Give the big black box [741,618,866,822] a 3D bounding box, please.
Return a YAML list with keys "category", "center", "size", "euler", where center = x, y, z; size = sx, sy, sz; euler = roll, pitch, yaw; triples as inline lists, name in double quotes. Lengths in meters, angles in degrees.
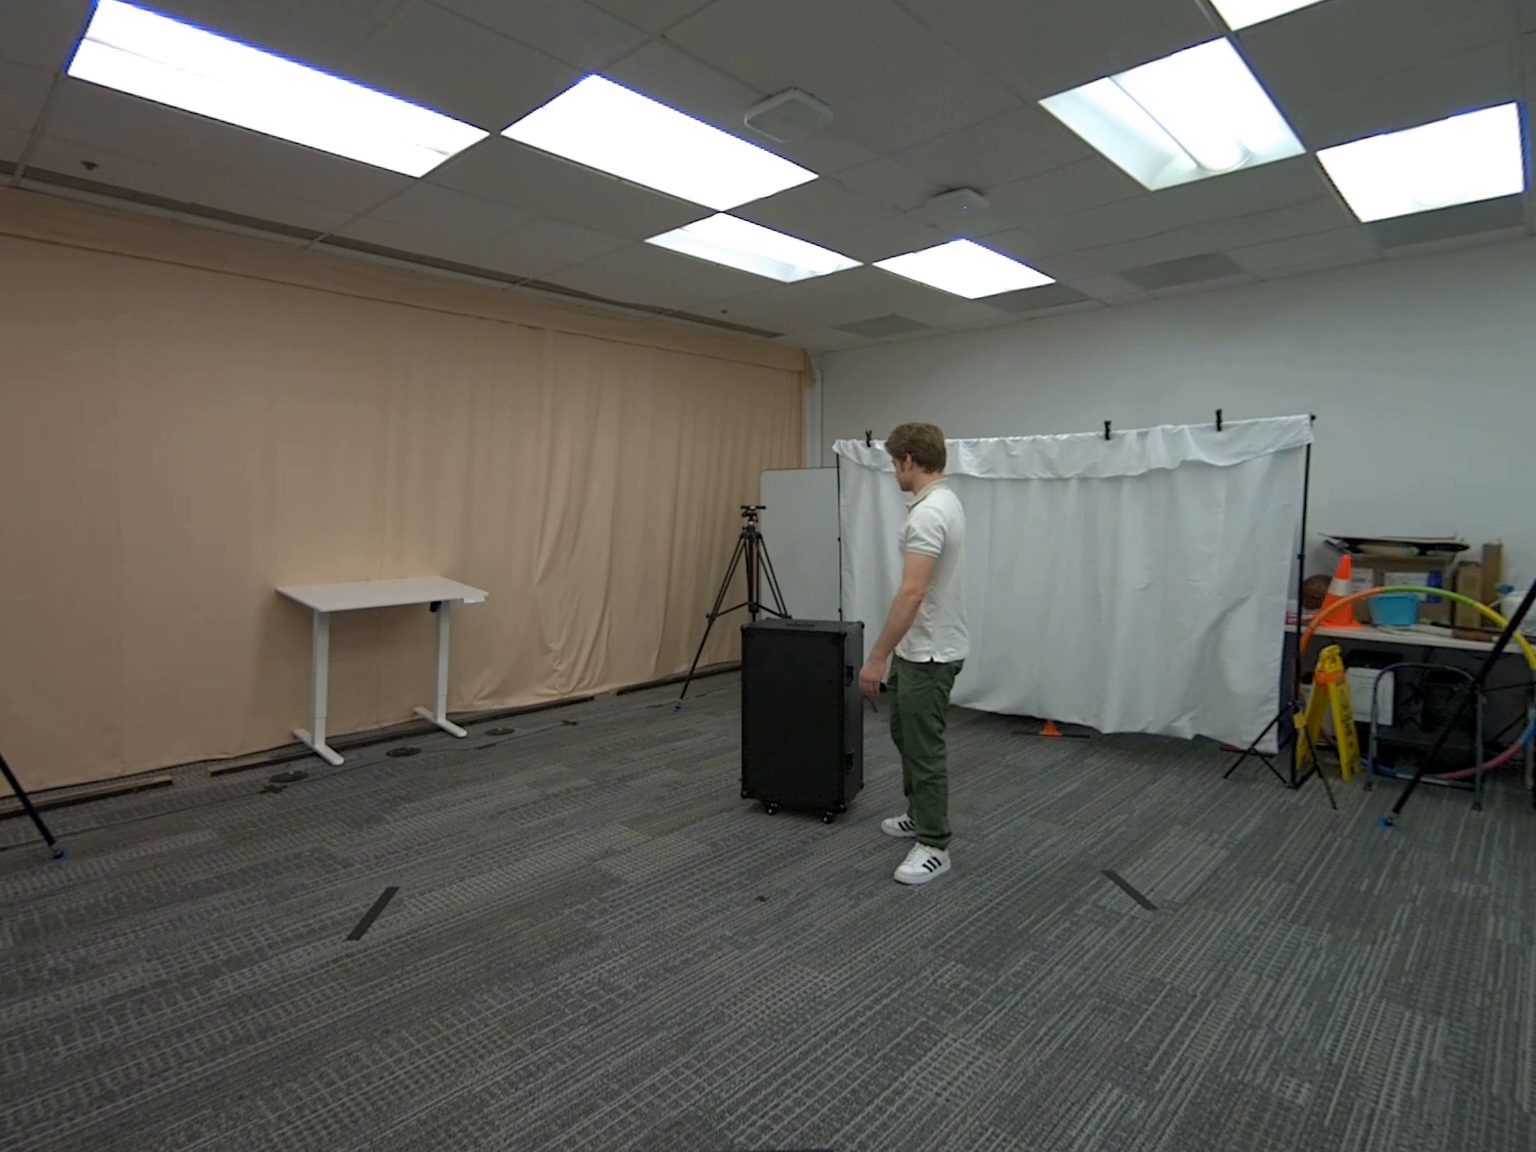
- category: "big black box"
  center: [0.164, 0.644, 3.881]
  size: [0.535, 0.867, 0.377]
  euler: [1, 3, 21]
